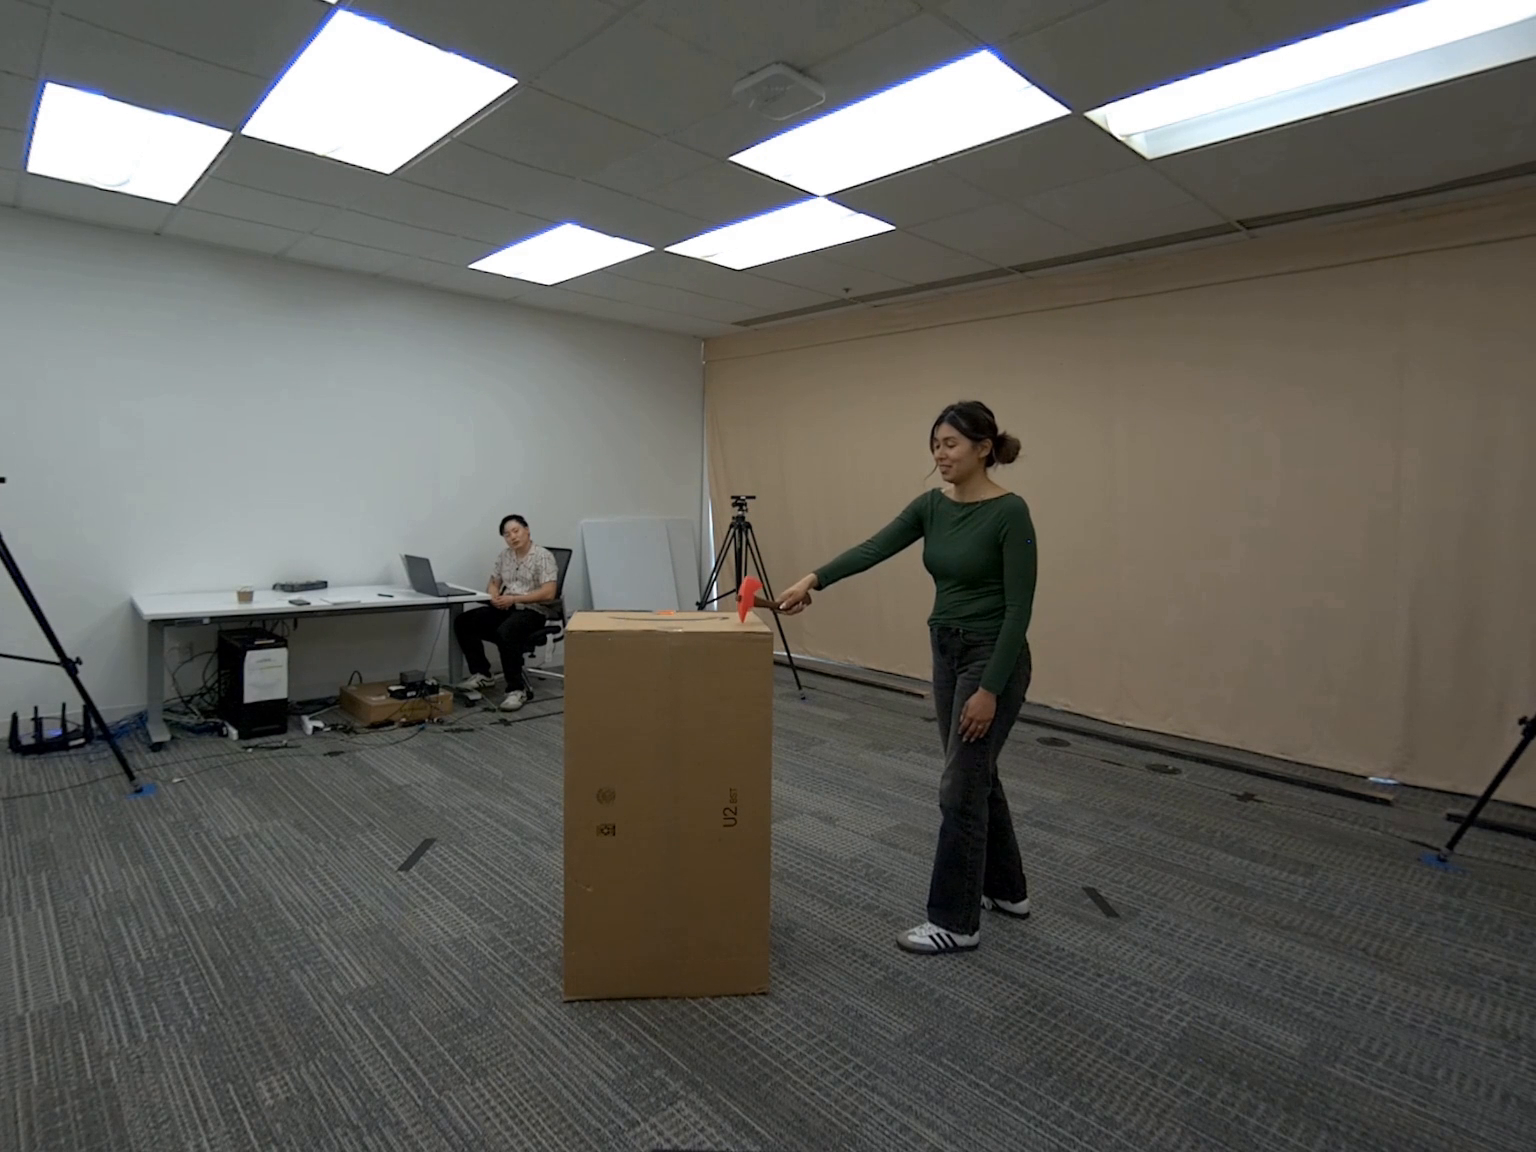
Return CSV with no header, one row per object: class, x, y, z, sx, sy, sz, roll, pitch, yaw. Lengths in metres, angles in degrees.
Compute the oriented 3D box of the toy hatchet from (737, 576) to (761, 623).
toy hatchet,0.016,0.041,2.489,0.265,0.131,0.030,-9,1,-29
